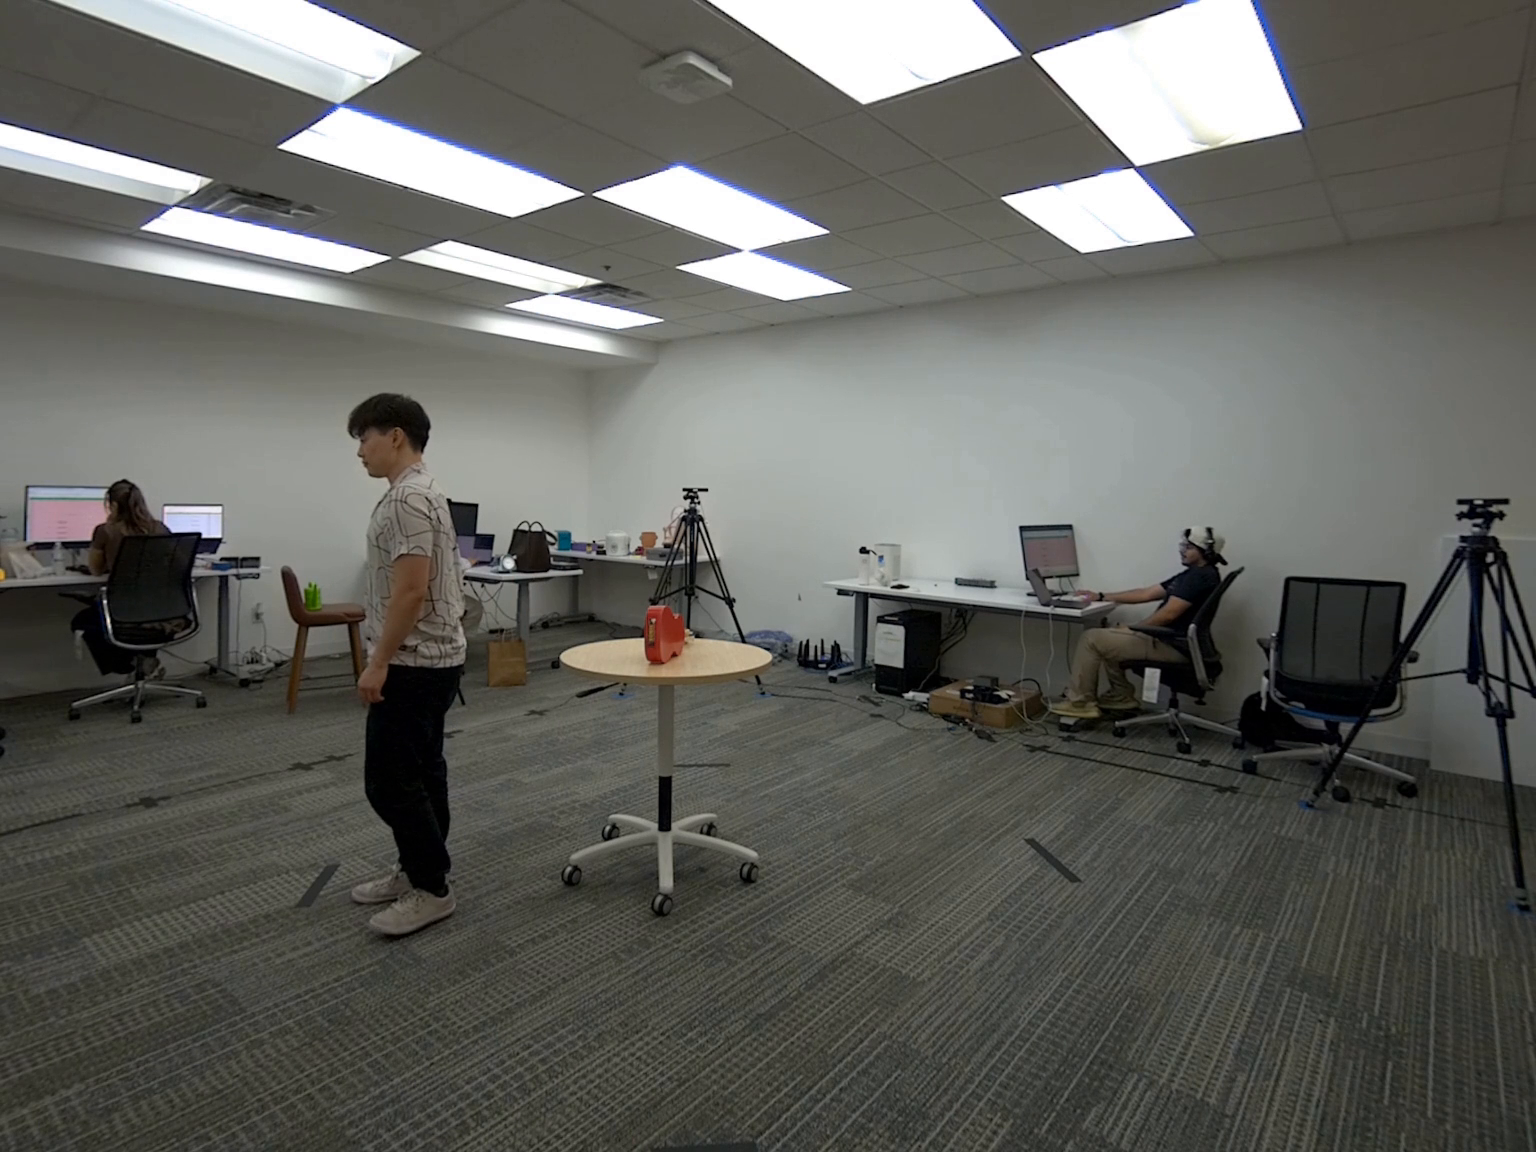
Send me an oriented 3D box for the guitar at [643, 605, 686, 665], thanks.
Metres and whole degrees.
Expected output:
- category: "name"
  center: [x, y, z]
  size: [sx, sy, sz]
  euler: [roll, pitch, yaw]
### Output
- category: "guitar"
  center: [-0.355, 0.189, 3.124]
  size: [0.071, 0.193, 0.493]
  euler: [-1, 3, 9]
